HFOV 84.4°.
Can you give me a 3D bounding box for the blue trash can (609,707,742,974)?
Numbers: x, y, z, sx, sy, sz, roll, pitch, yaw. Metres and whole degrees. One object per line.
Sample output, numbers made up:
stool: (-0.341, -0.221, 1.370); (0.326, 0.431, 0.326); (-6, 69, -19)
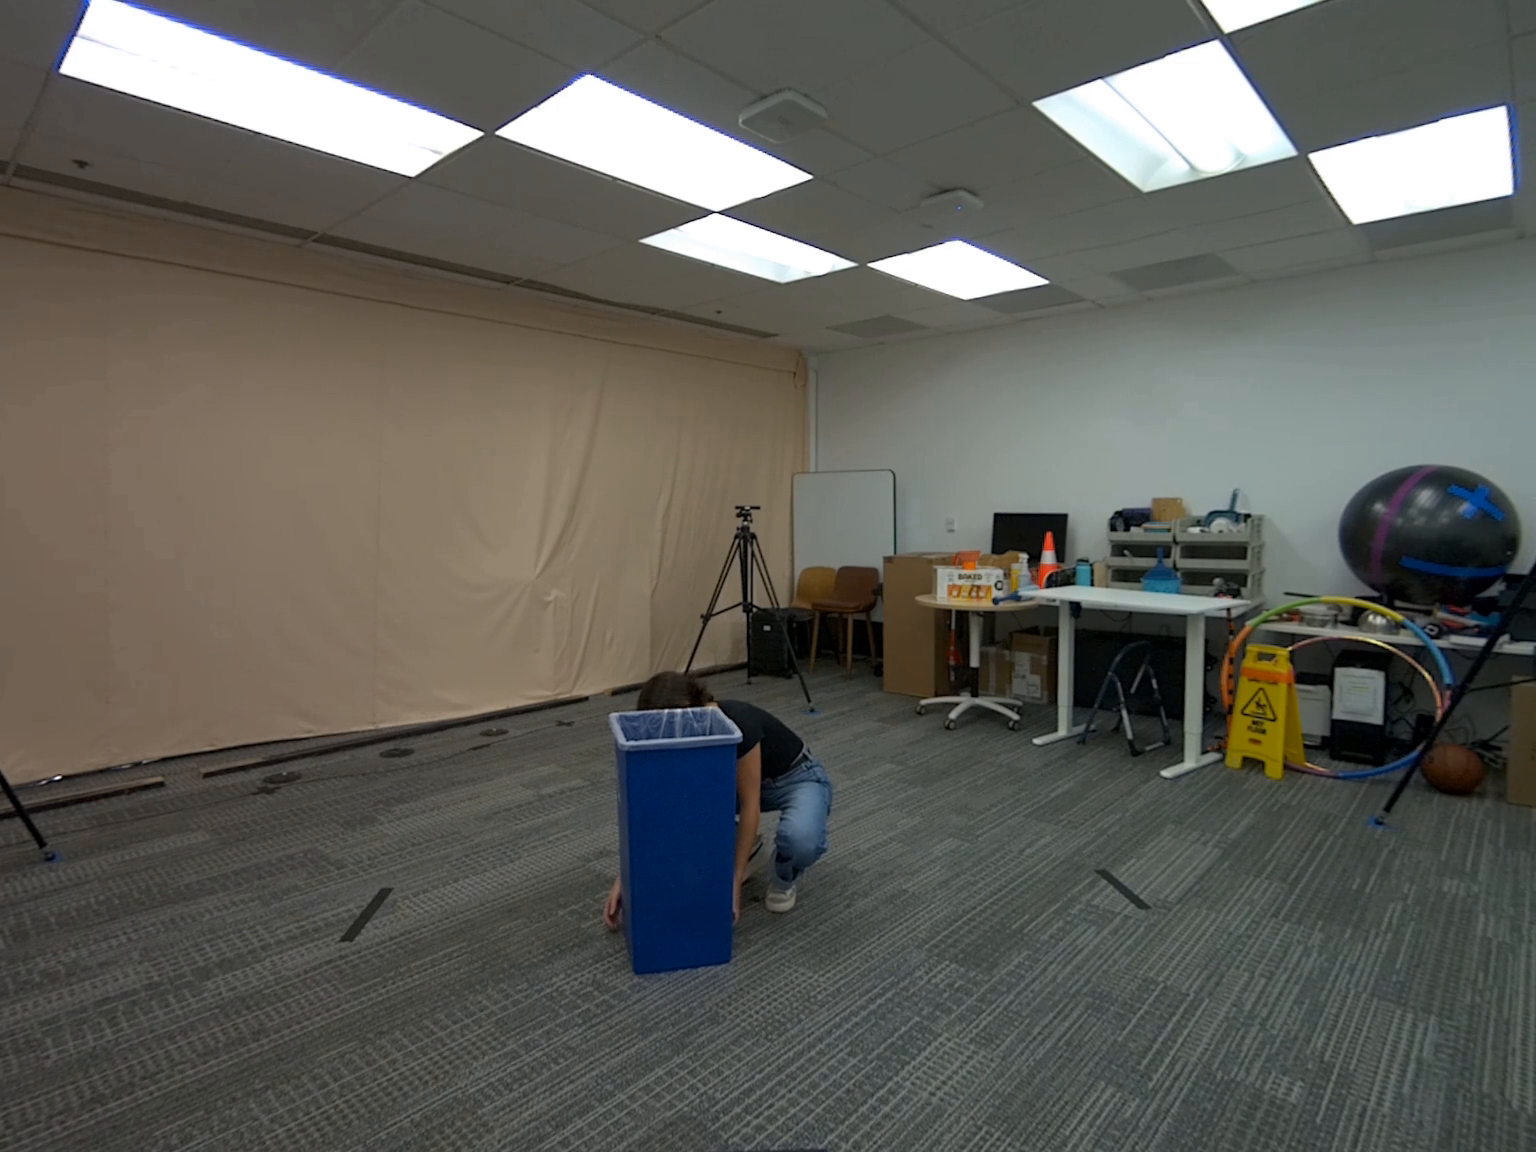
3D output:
blue trash can: (-0.301, 0.818, 2.649); (0.372, 0.712, 0.380); (-2, 3, -15)
